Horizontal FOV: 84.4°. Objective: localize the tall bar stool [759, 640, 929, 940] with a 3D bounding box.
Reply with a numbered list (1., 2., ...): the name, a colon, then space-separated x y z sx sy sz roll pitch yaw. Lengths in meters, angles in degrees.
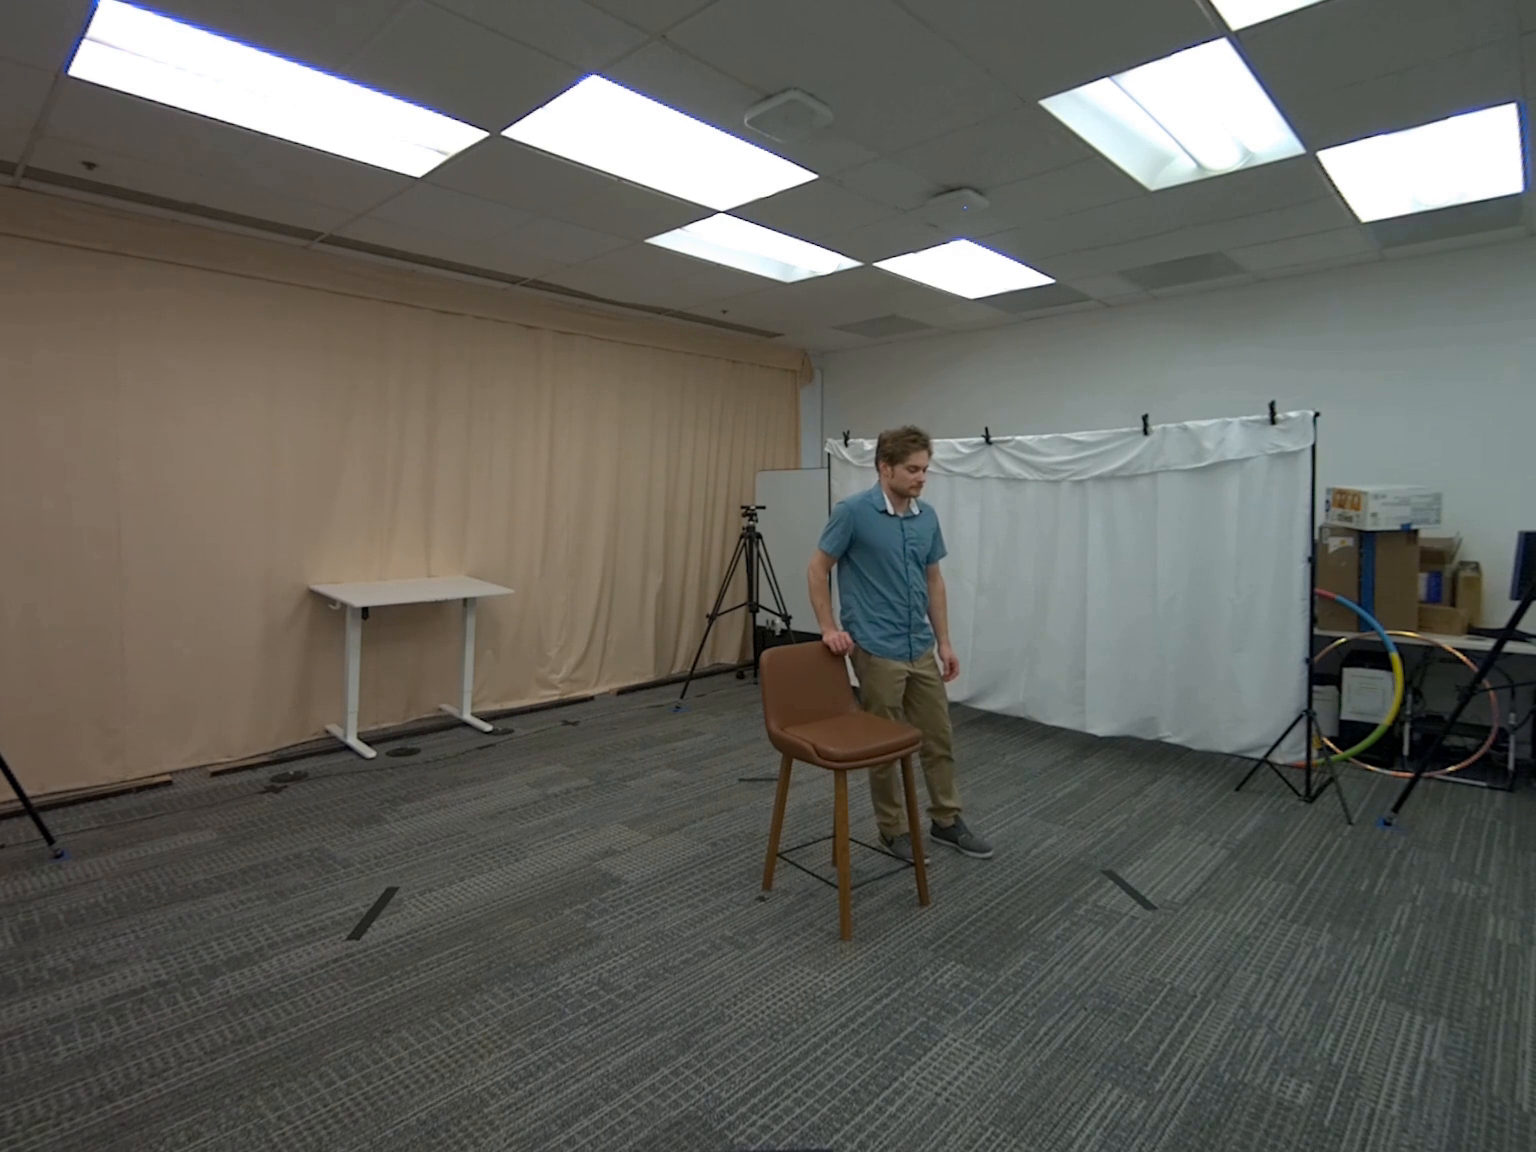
1. tall bar stool: 0.258 0.711 2.967 0.443 0.889 0.482 -3 2 -38
